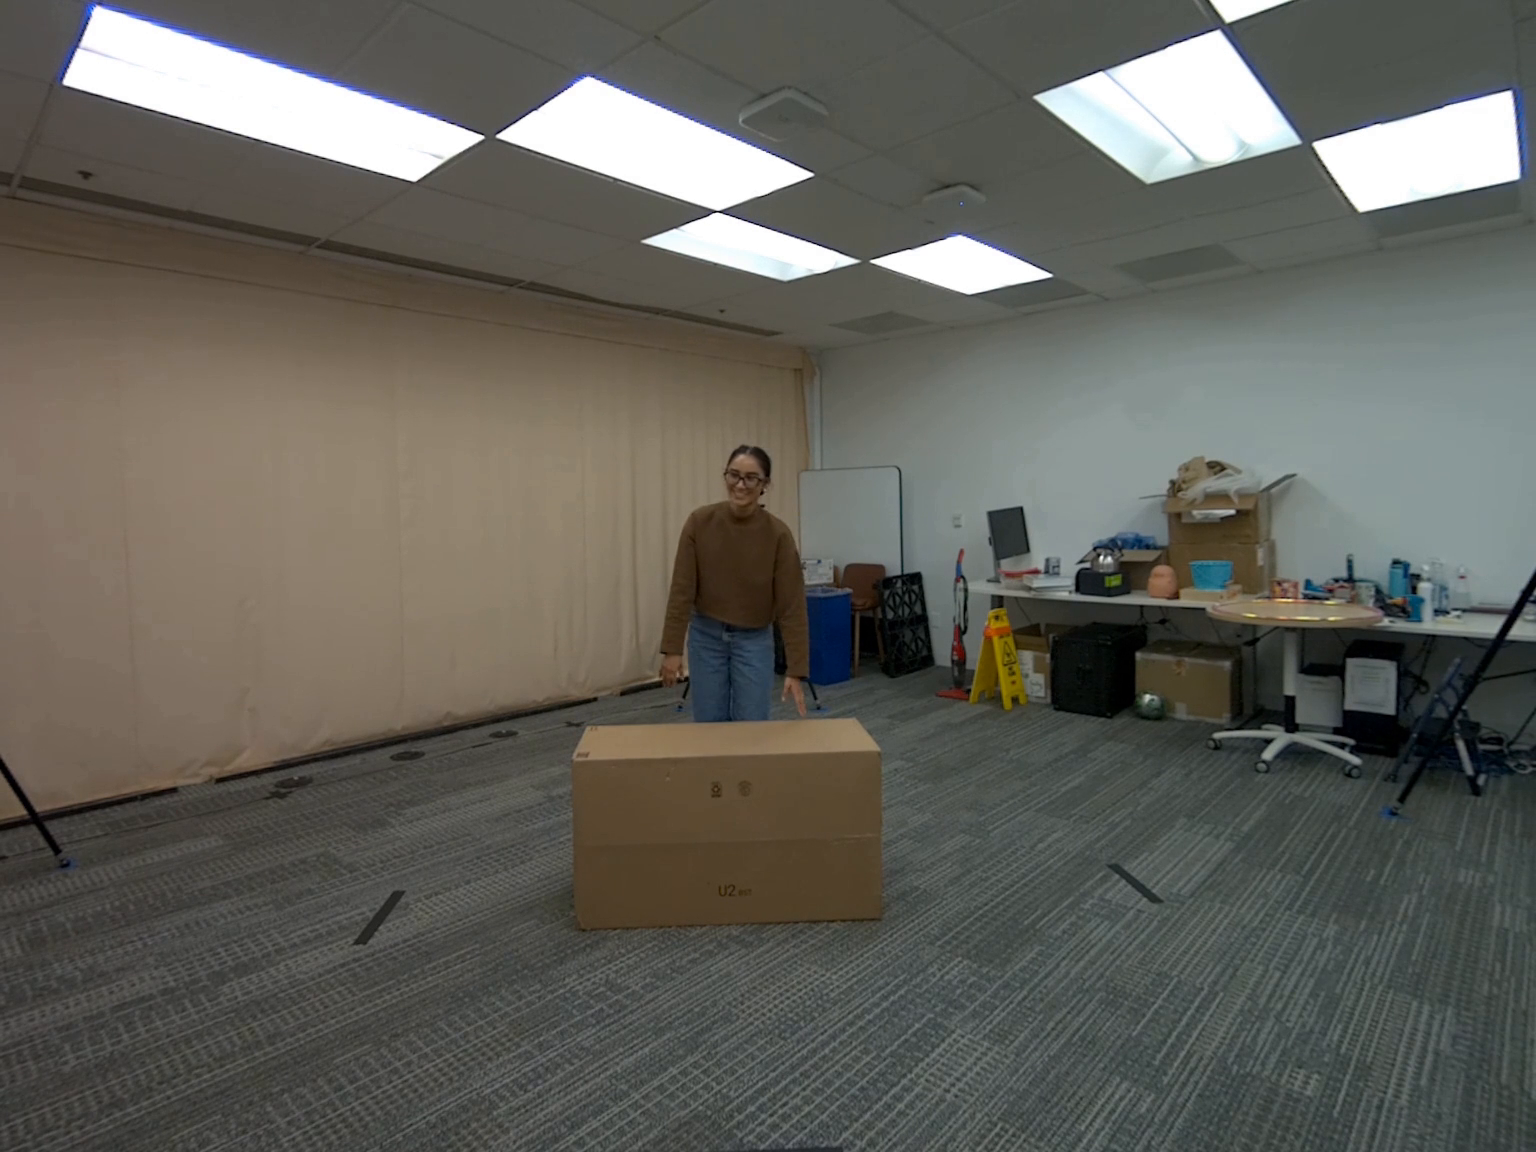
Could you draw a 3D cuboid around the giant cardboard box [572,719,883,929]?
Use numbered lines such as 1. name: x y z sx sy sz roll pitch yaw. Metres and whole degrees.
1. giant cardboard box: -0.152 0.857 2.986 1.025 0.582 0.449 -1 5 -2
